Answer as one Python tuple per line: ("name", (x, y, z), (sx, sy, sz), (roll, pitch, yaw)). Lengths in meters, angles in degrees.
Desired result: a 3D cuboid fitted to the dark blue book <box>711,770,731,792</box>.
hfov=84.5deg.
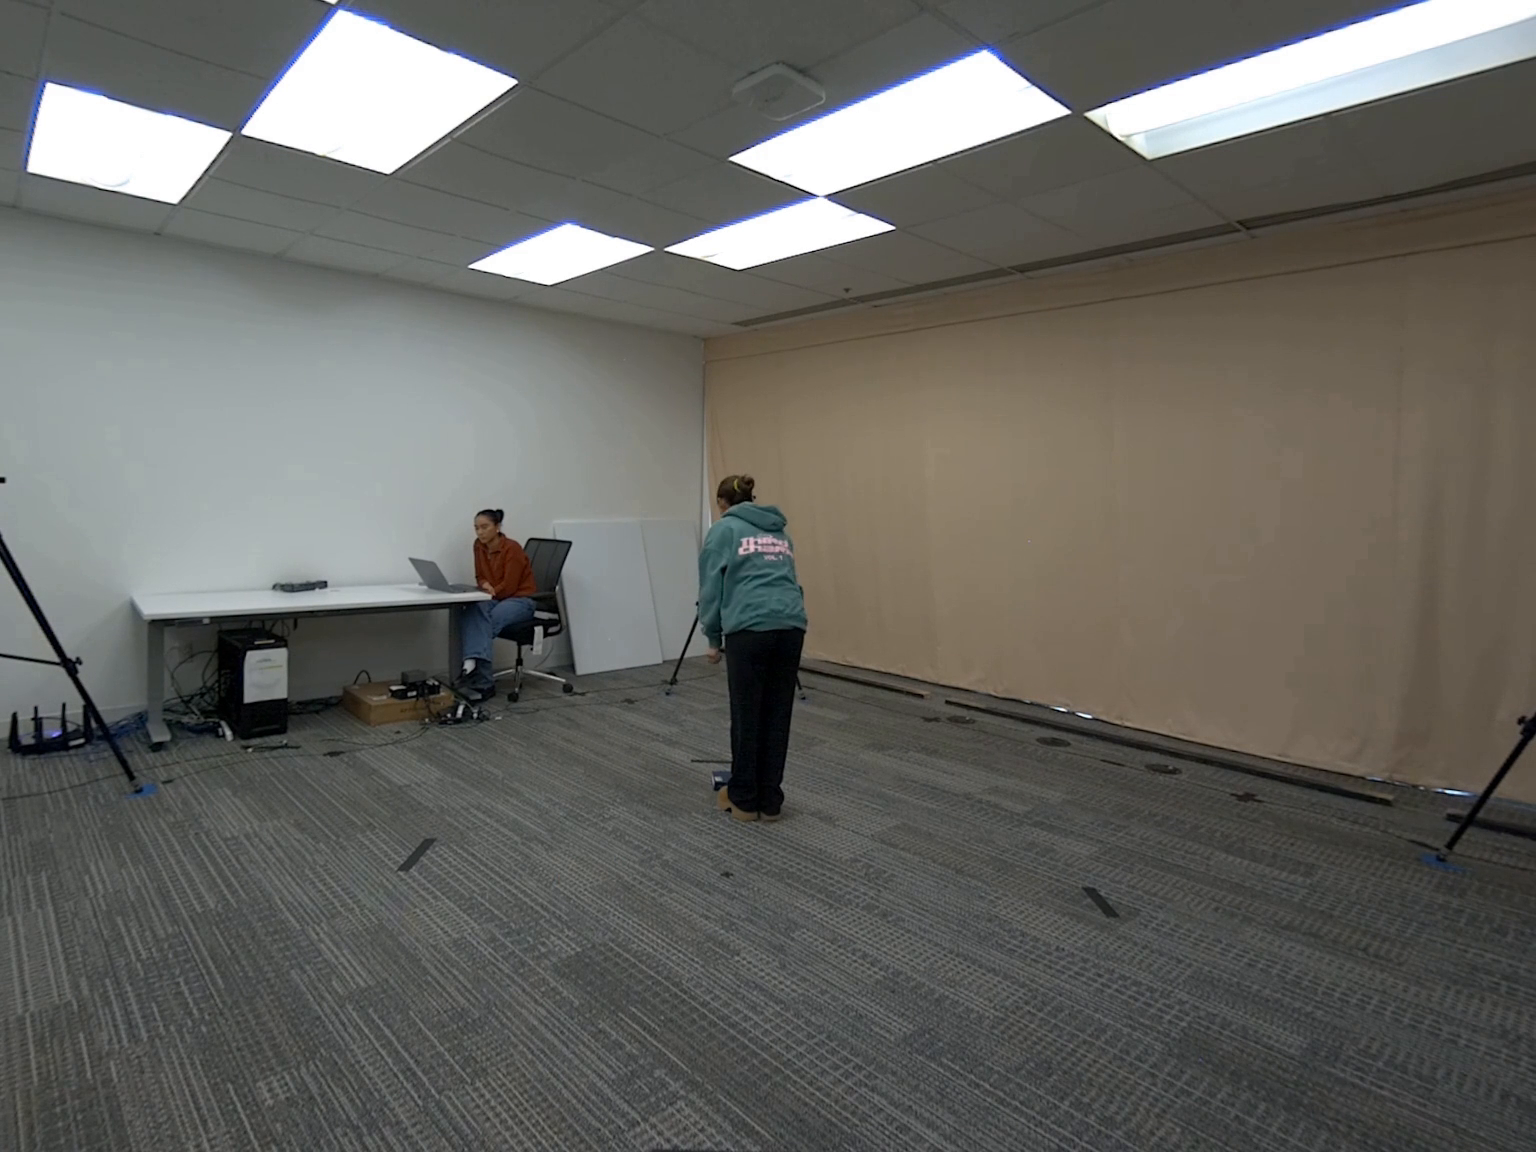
("dark blue book", (-0.156, 0.999, 4.086), (0.244, 0.045, 0.165), (1, 5, -6))
